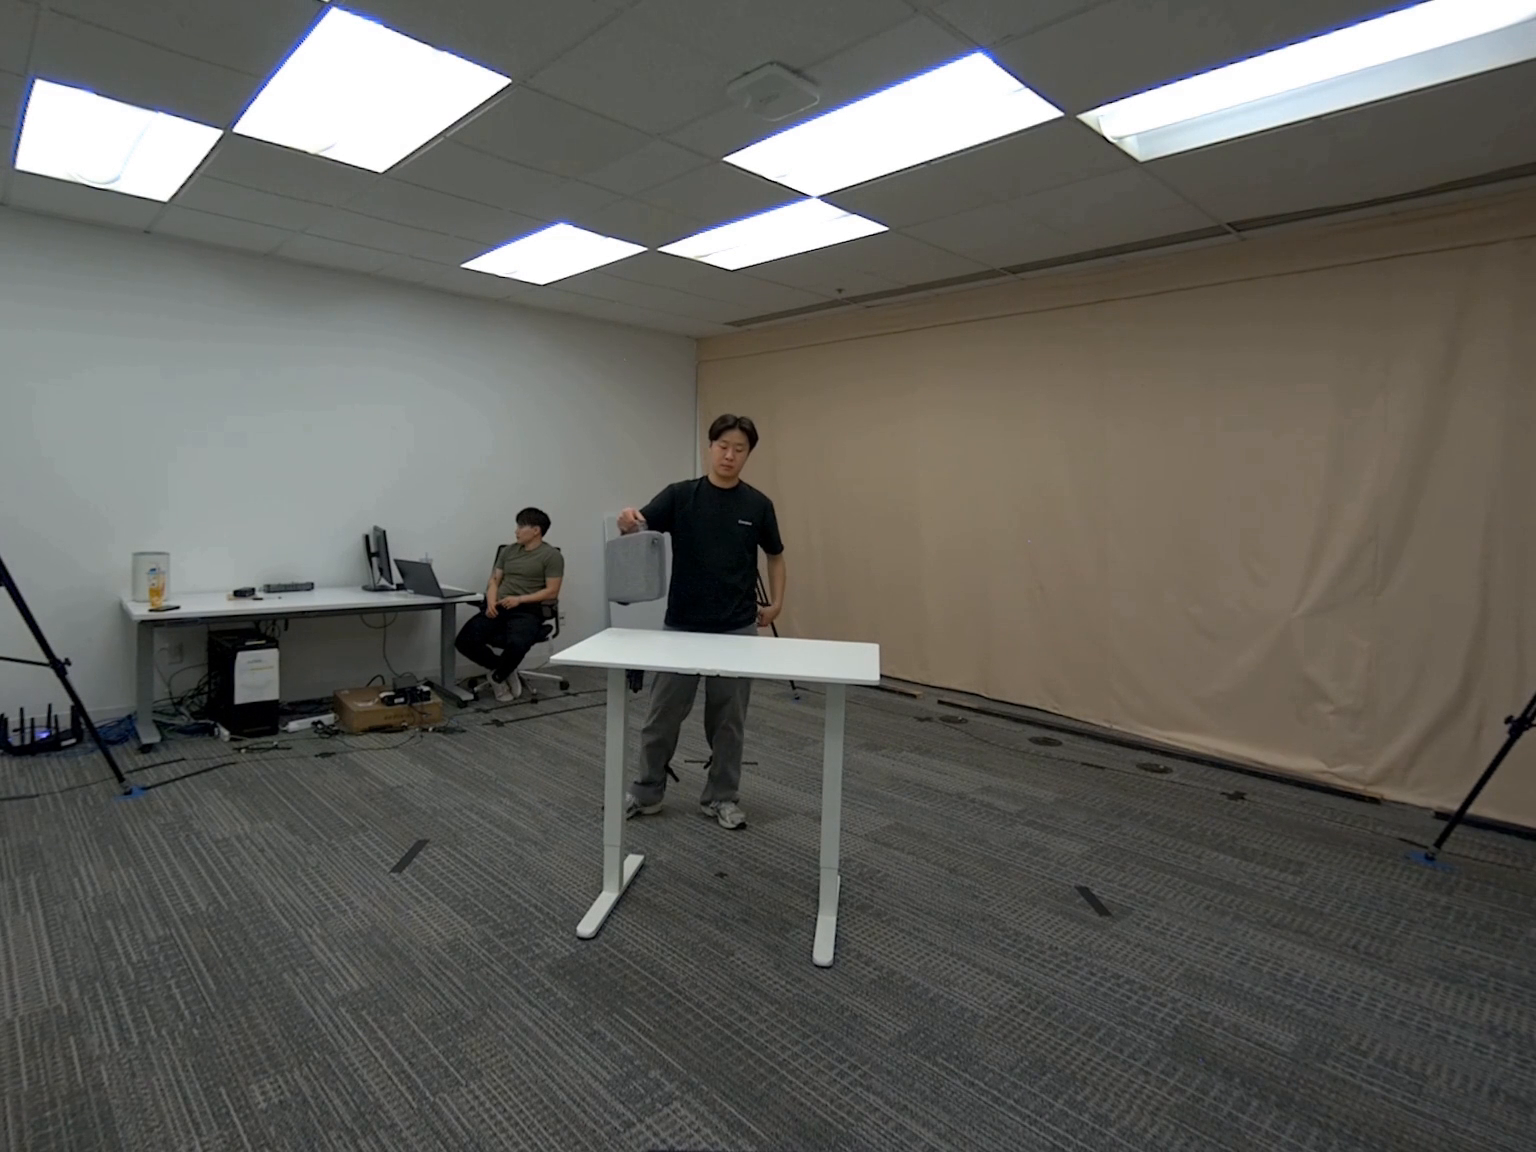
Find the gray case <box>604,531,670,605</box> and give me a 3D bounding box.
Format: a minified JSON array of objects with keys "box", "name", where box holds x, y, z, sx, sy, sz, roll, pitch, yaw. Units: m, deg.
[{"box":[-0.504,-0.034,3.156,0.268,0.289,0.100,-9,-10,42],"name":"gray case"}]
